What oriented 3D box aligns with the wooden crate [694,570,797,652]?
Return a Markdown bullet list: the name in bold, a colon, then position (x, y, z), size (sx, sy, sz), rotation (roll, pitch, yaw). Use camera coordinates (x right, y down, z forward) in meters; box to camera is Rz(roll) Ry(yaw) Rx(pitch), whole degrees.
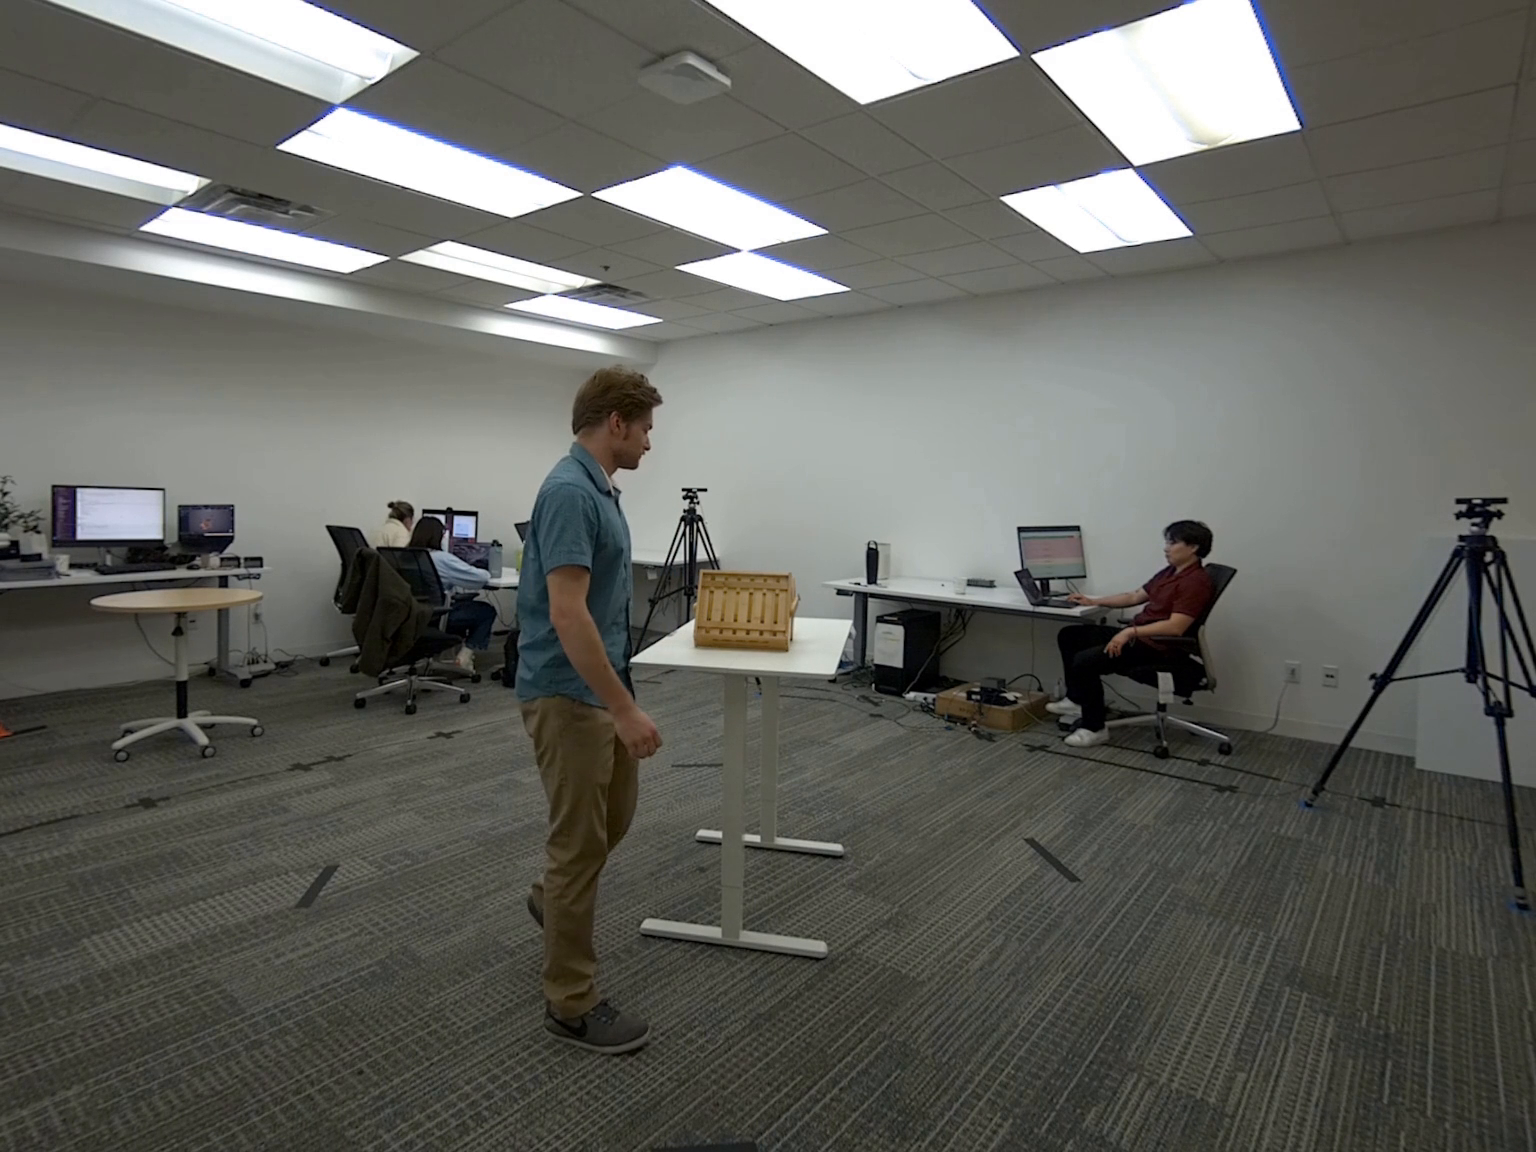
- **wooden crate**: position (-0.076, 0.125, 2.850), size (0.328, 0.307, 0.266), rotation (2, -22, 8)
